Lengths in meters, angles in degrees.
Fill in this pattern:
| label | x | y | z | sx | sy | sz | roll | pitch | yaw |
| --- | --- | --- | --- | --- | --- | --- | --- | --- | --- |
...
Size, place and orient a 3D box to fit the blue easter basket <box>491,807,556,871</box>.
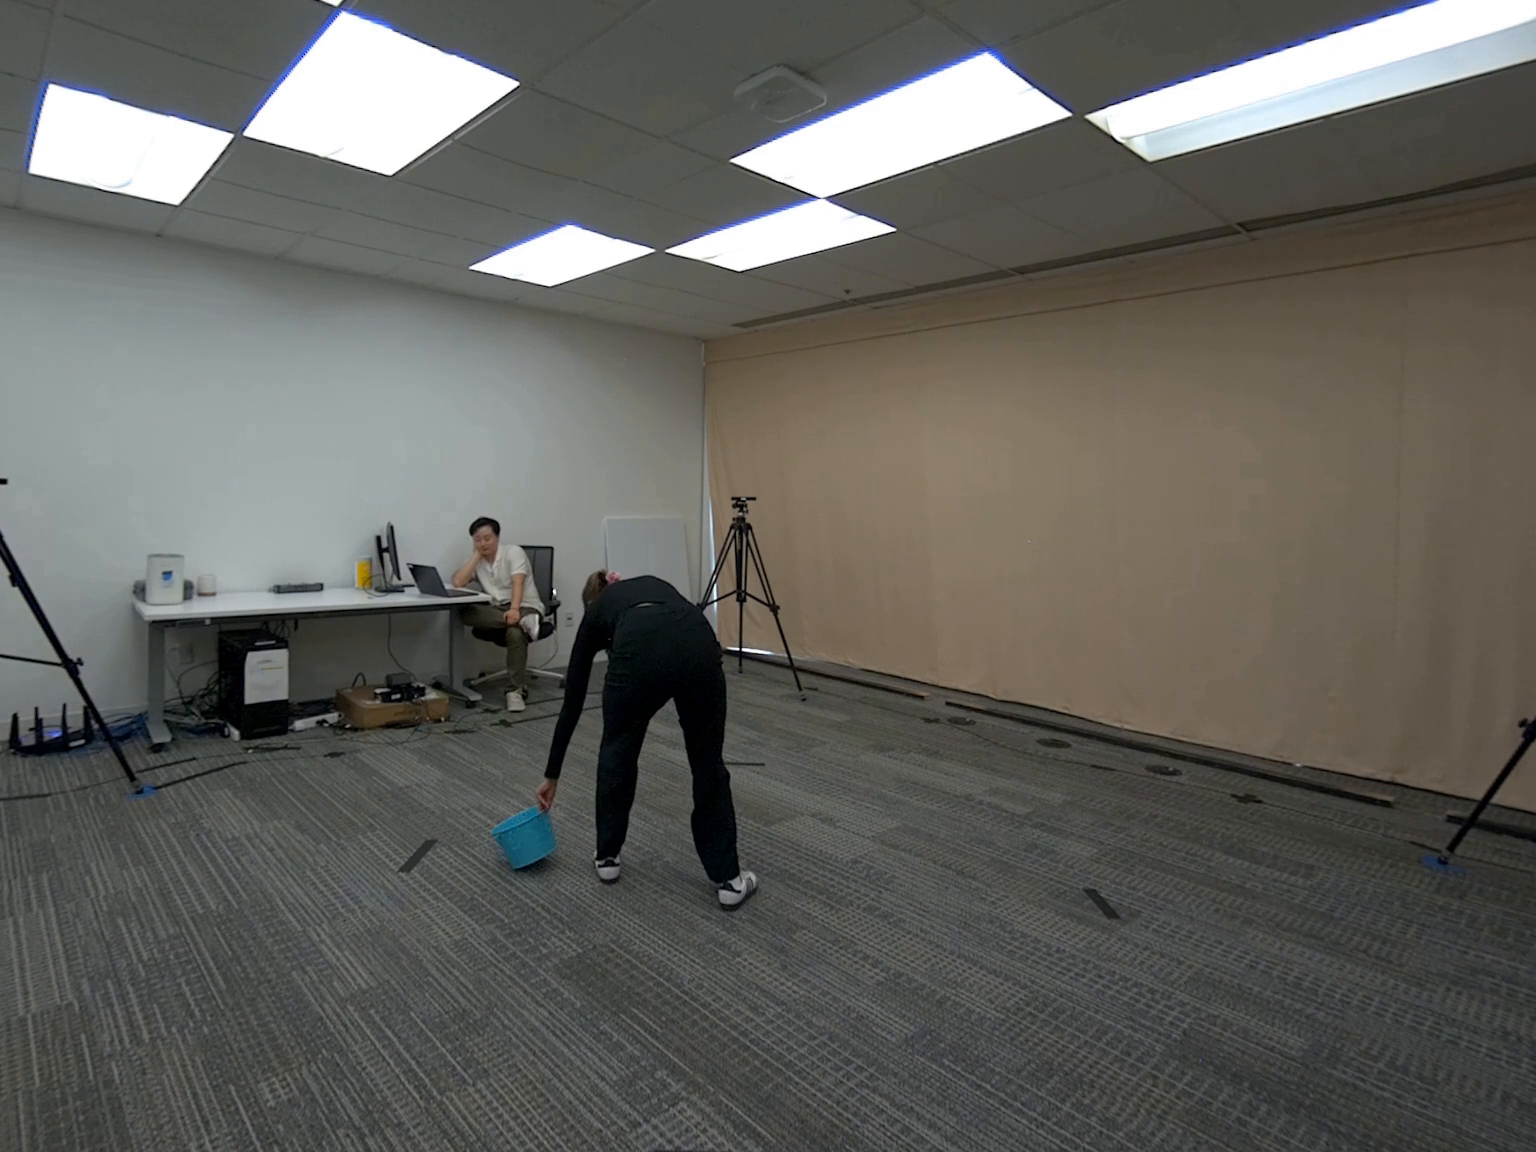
| label | x | y | z | sx | sy | sz | roll | pitch | yaw |
| --- | --- | --- | --- | --- | --- | --- | --- | --- | --- |
| blue easter basket | -0.897 | 0.978 | 3.159 | 0.243 | 0.156 | 0.243 | -23 | -1 | -2 |
